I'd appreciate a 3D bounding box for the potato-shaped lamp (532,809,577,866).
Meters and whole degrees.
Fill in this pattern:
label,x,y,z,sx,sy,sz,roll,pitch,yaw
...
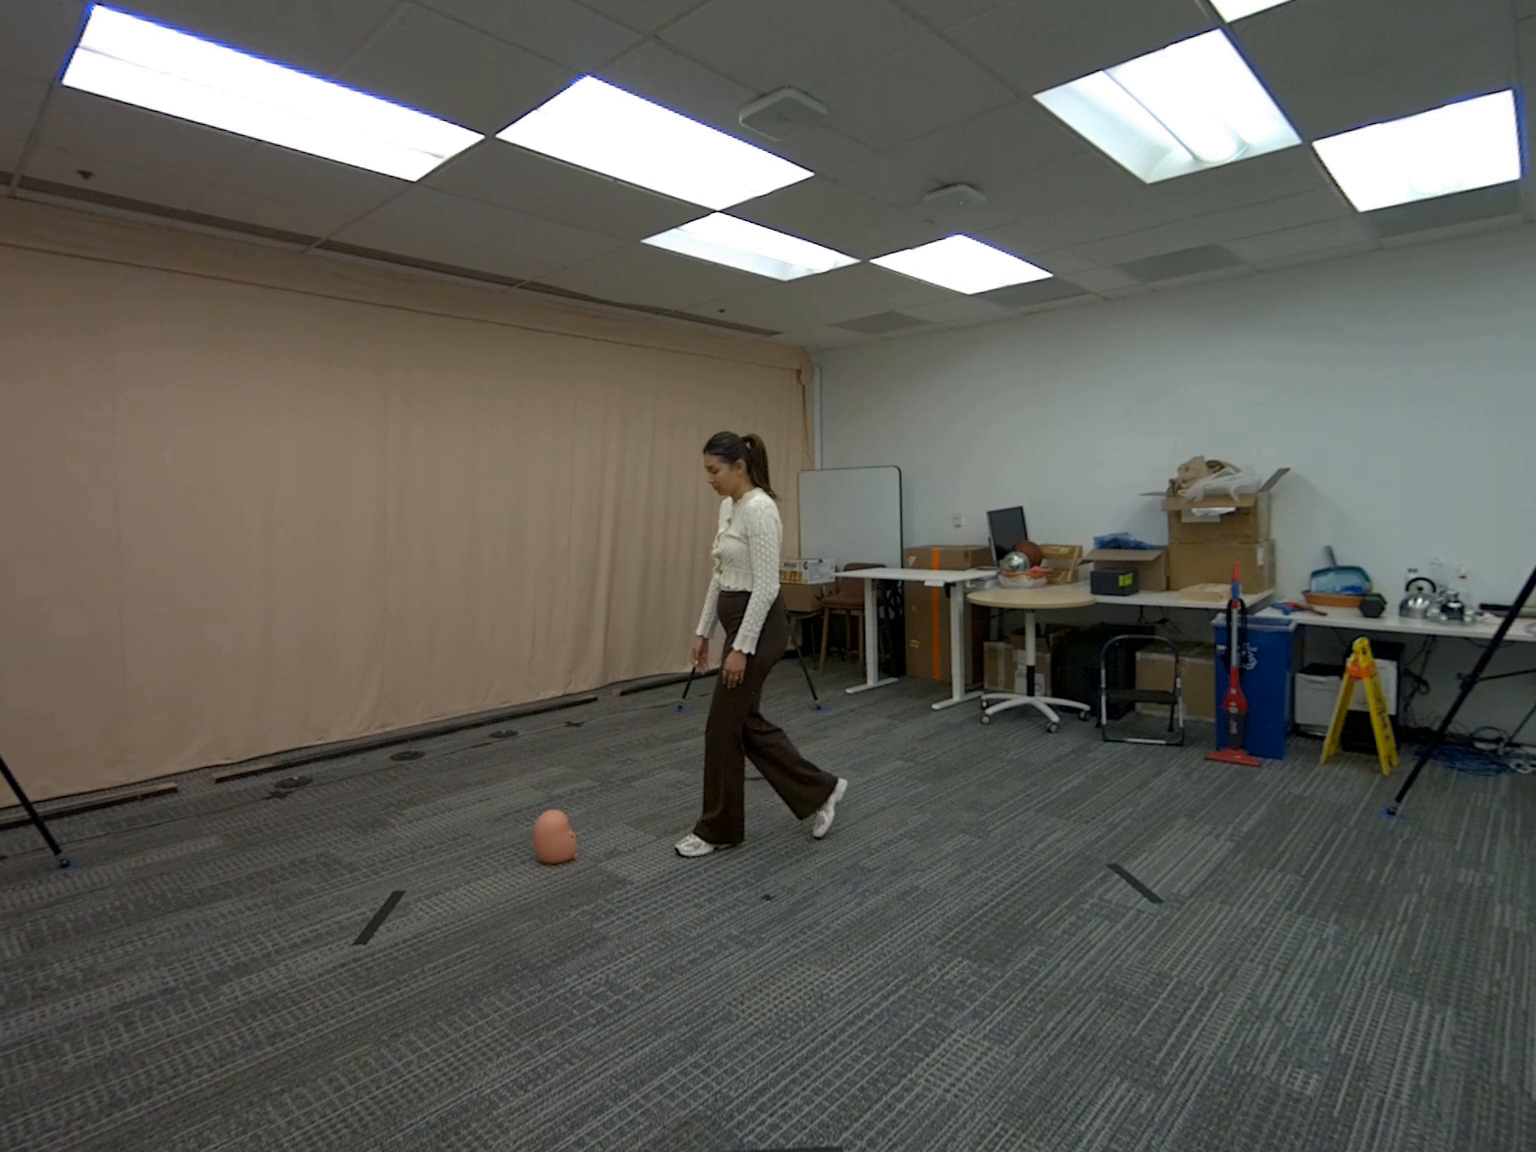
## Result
label,x,y,z,sx,sy,sz,roll,pitch,yaw
potato-shaped lamp,-0.846,1.029,3.345,0.166,0.197,0.170,-5,5,-37
